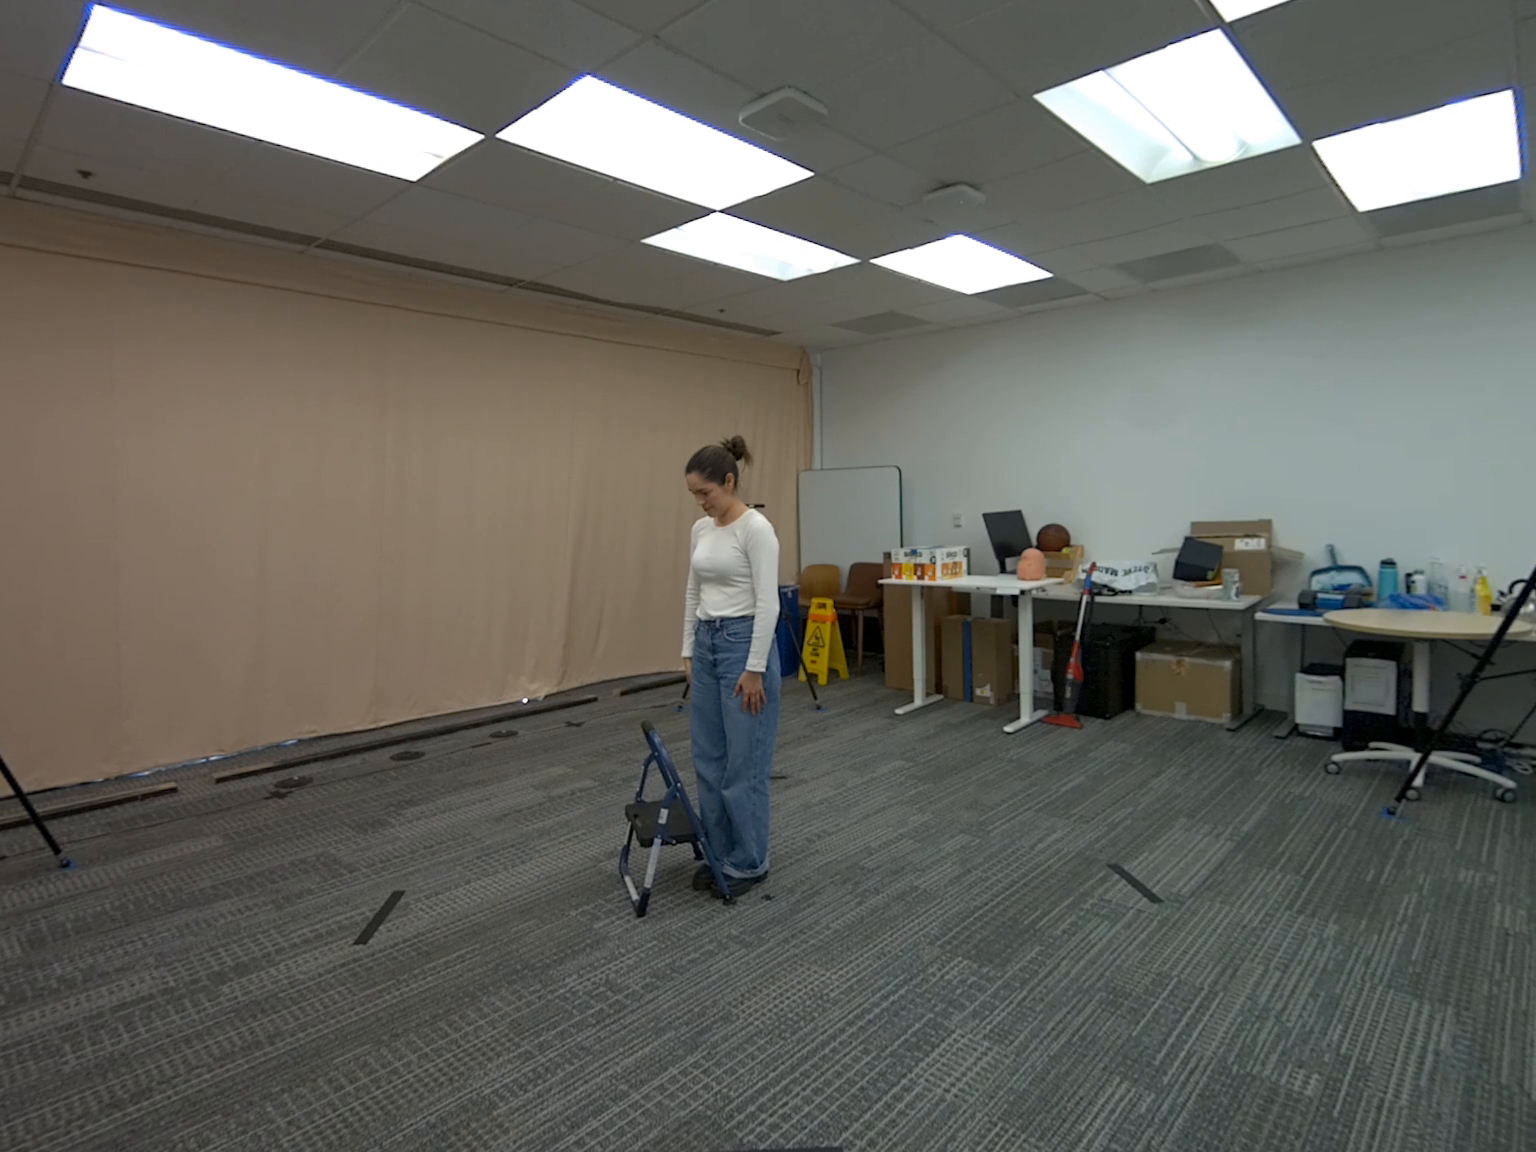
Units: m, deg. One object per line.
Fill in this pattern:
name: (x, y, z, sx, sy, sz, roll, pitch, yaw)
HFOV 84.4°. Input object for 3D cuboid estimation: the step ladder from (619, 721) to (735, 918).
step ladder: (-0.353, 0.837, 3.080, 0.343, 0.605, 0.439, -2, 4, -18)
